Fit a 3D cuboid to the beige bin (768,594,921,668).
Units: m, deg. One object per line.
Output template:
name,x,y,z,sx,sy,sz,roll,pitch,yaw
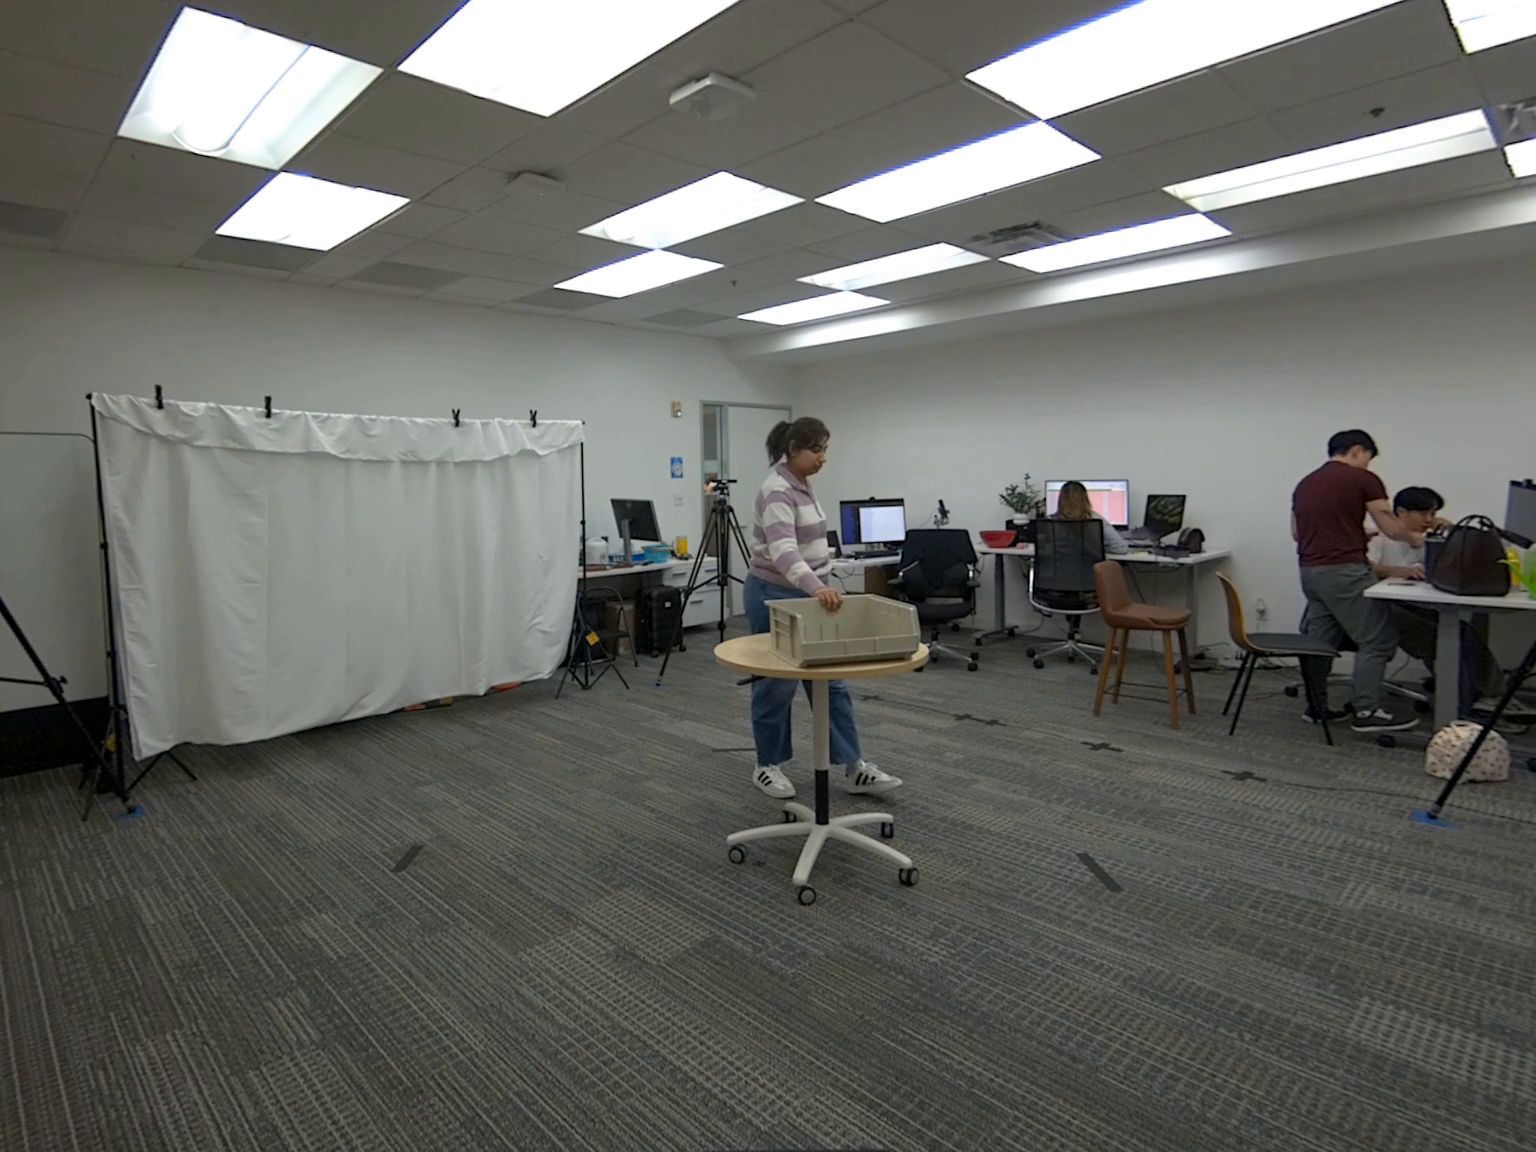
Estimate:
beige bin,0.241,0.190,2.936,0.416,0.188,0.384,-4,5,-16
